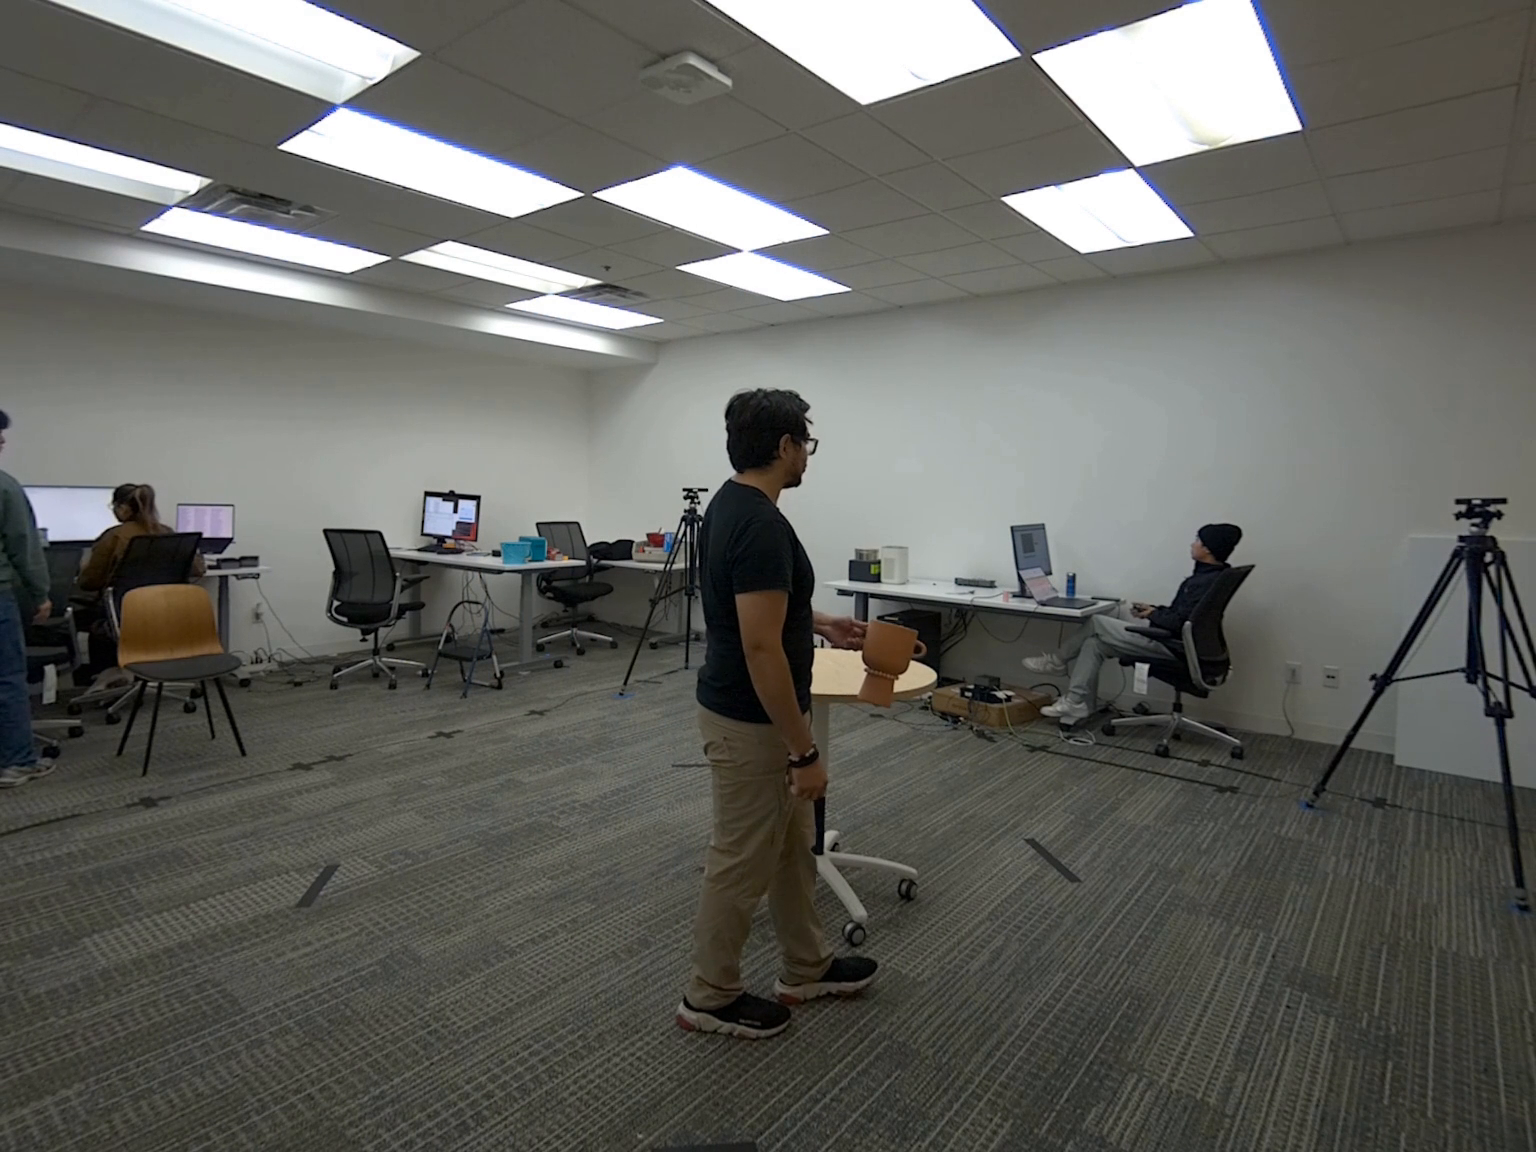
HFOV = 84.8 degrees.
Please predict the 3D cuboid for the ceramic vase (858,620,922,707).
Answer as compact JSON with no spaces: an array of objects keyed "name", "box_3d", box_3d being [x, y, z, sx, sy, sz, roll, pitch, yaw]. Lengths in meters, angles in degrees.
[{"name":"ceramic vase","box_3d":[0.317,0.241,2.325,0.130,0.220,0.164,17,-3,-33]}]
